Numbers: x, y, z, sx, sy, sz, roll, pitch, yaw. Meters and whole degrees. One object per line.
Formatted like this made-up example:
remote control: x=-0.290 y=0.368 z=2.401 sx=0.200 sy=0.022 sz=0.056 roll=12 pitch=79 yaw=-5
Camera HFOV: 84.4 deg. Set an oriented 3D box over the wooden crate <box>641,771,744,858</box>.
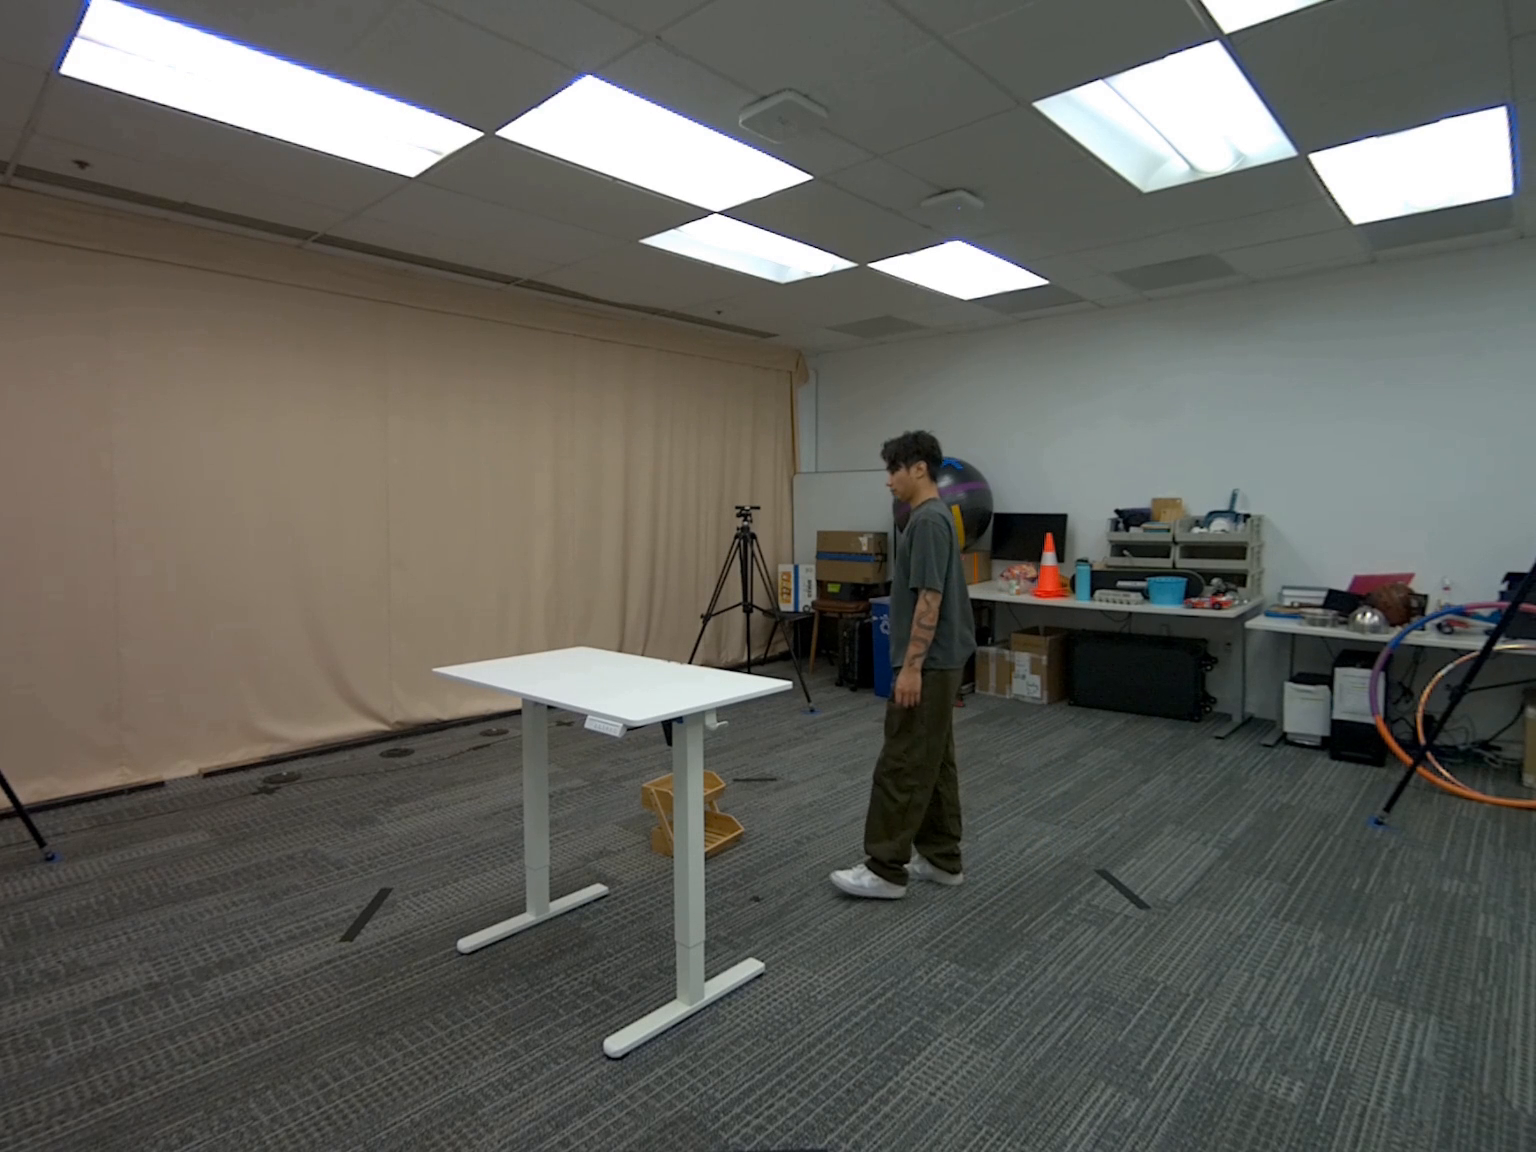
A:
wooden crate: x=-0.305 y=0.971 z=3.466 sx=0.311 sy=0.273 sz=0.315 roll=2 pitch=5 yaw=35
